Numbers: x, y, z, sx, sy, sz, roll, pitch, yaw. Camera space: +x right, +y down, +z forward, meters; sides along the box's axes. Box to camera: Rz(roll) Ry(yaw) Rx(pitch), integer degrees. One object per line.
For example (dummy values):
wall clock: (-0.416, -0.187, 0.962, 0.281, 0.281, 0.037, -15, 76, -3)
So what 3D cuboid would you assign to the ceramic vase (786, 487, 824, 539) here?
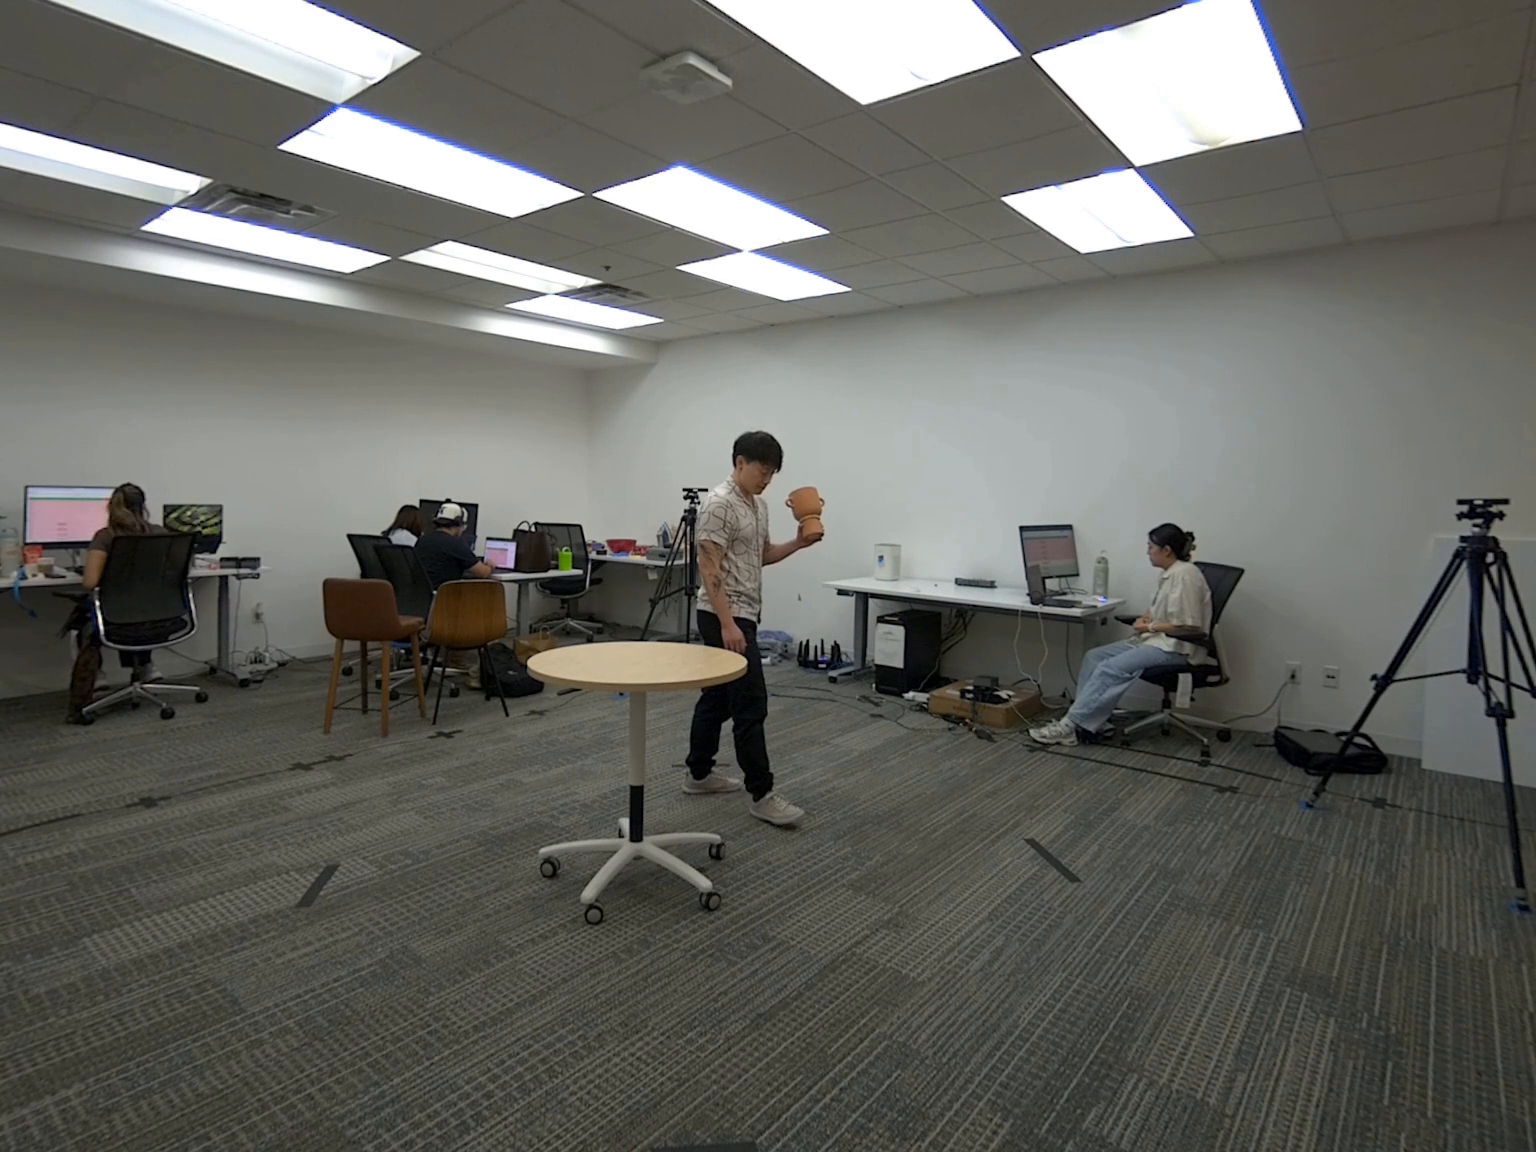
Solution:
ceramic vase: (0.167, -0.284, 3.845, 0.161, 0.225, 0.130, -15, -20, 14)
